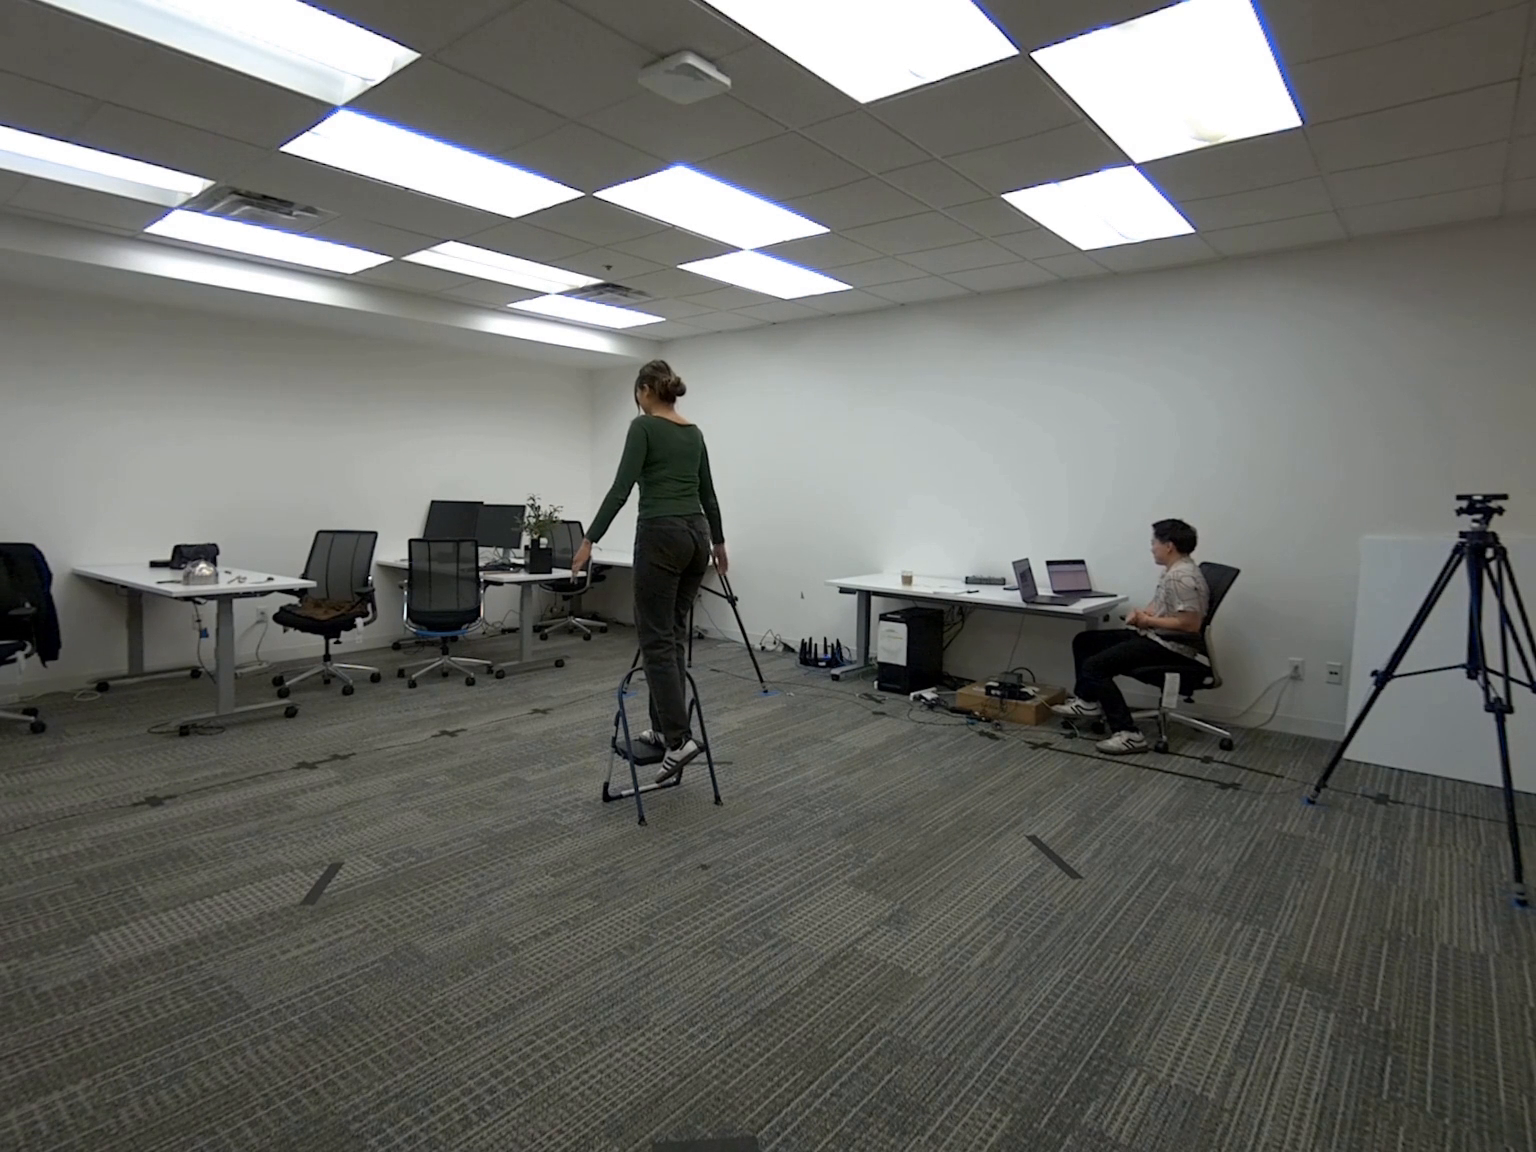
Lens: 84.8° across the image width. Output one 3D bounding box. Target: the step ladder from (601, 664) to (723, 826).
[{"bbox_3d":[-0.477,0.696,3.739,0.418,0.604,0.361,-2,5,-40],"label":"step ladder"}]
